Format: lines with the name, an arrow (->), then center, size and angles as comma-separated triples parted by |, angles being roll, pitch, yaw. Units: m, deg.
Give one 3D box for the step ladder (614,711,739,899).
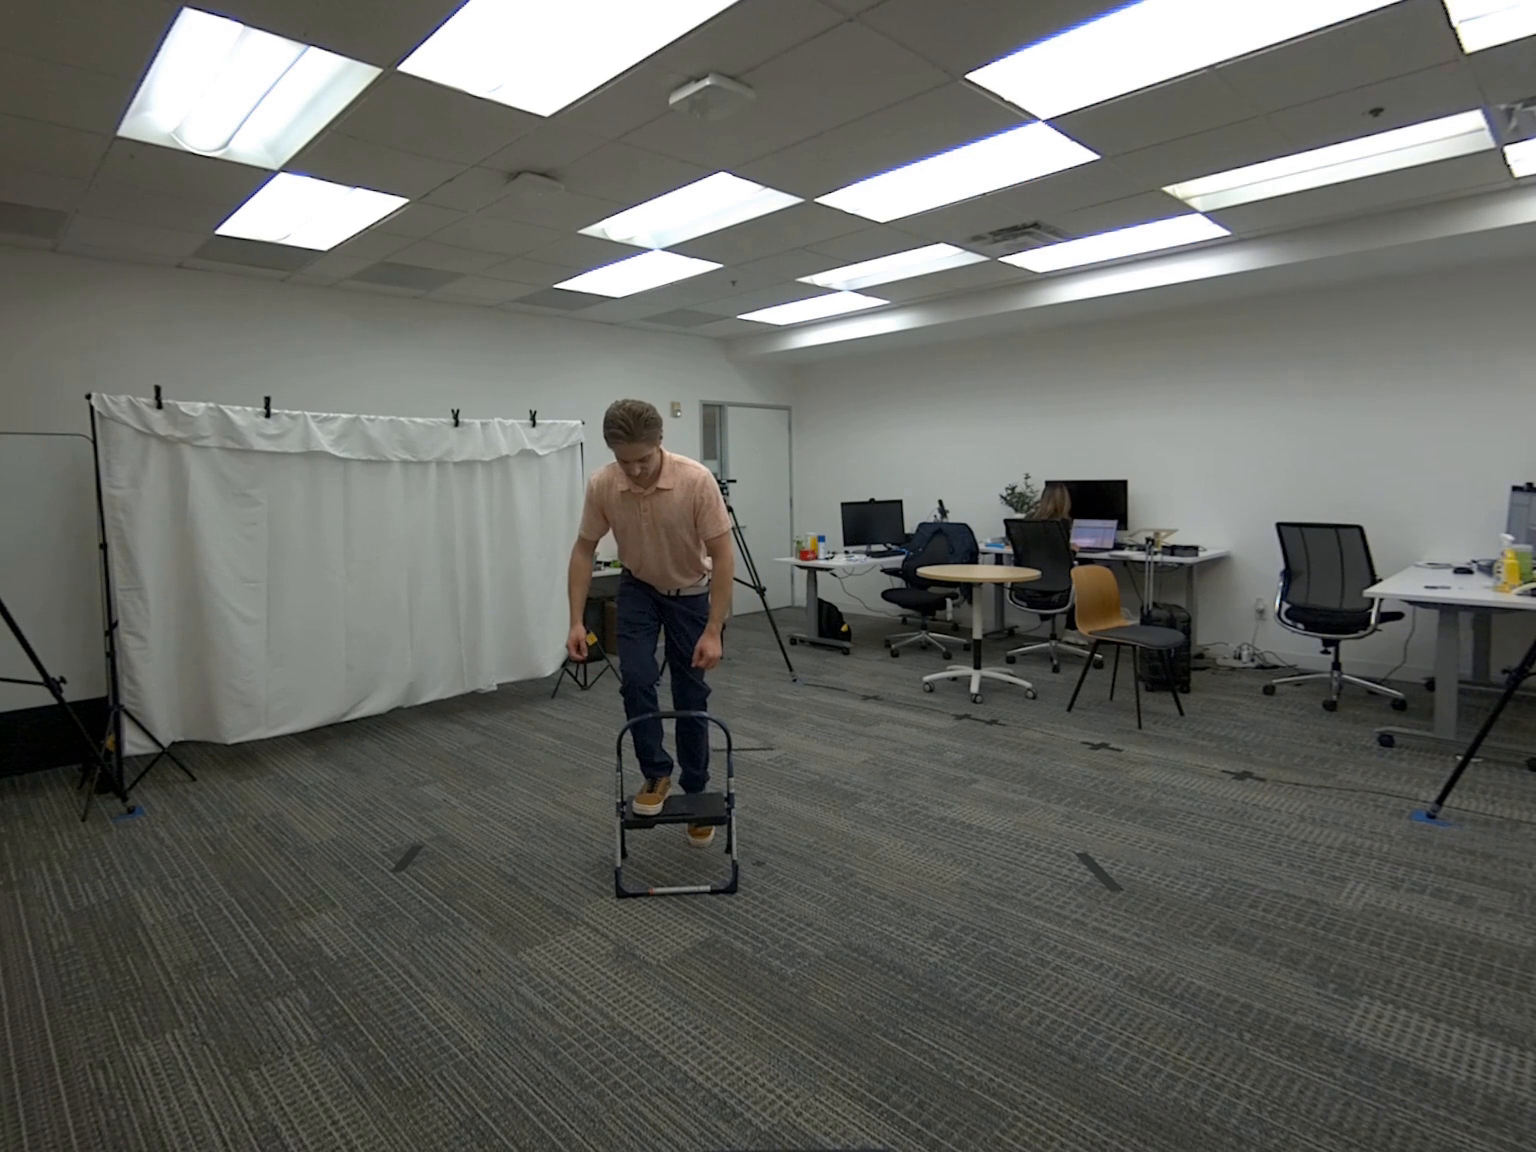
step ladder -> -0.327, 0.765, 3.026 | 0.428, 0.604, 0.352 | -1, 4, -6
